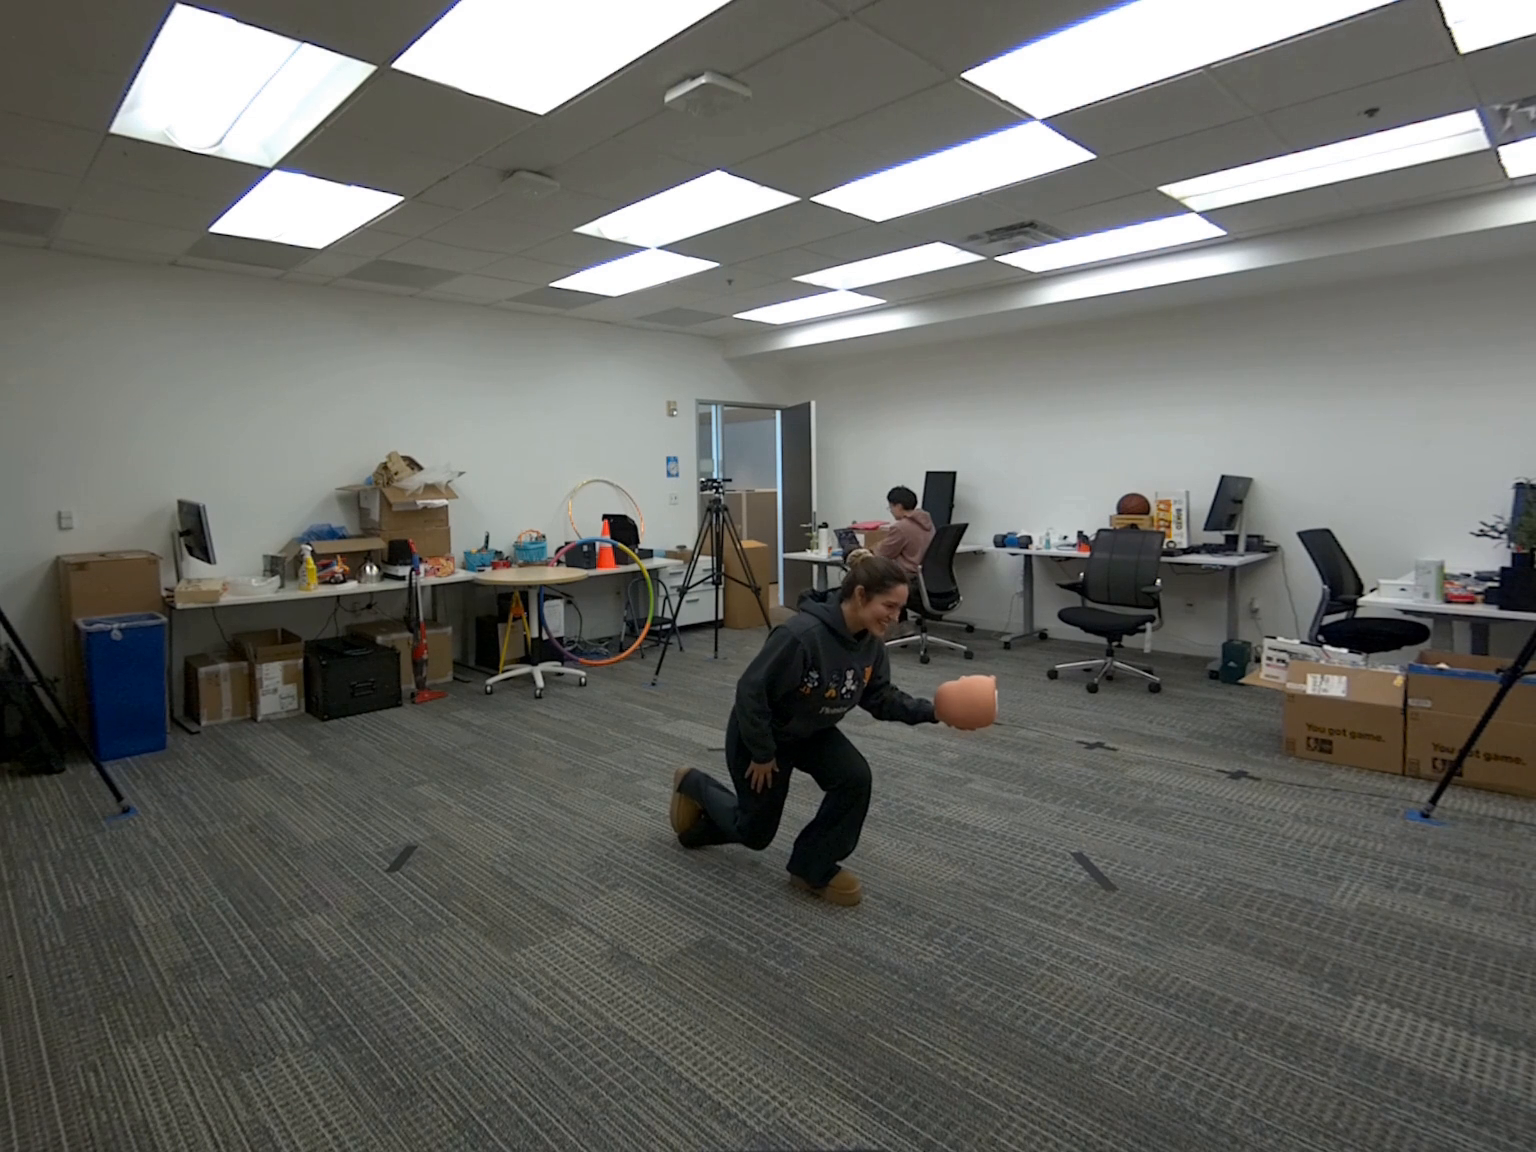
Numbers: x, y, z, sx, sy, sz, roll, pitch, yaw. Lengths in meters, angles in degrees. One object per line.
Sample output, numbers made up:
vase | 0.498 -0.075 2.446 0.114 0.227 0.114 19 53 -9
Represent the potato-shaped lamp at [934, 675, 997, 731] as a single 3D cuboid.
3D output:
potato-shaped lamp | 0.638 0.400 2.767 0.202 0.159 0.174 2 45 19
